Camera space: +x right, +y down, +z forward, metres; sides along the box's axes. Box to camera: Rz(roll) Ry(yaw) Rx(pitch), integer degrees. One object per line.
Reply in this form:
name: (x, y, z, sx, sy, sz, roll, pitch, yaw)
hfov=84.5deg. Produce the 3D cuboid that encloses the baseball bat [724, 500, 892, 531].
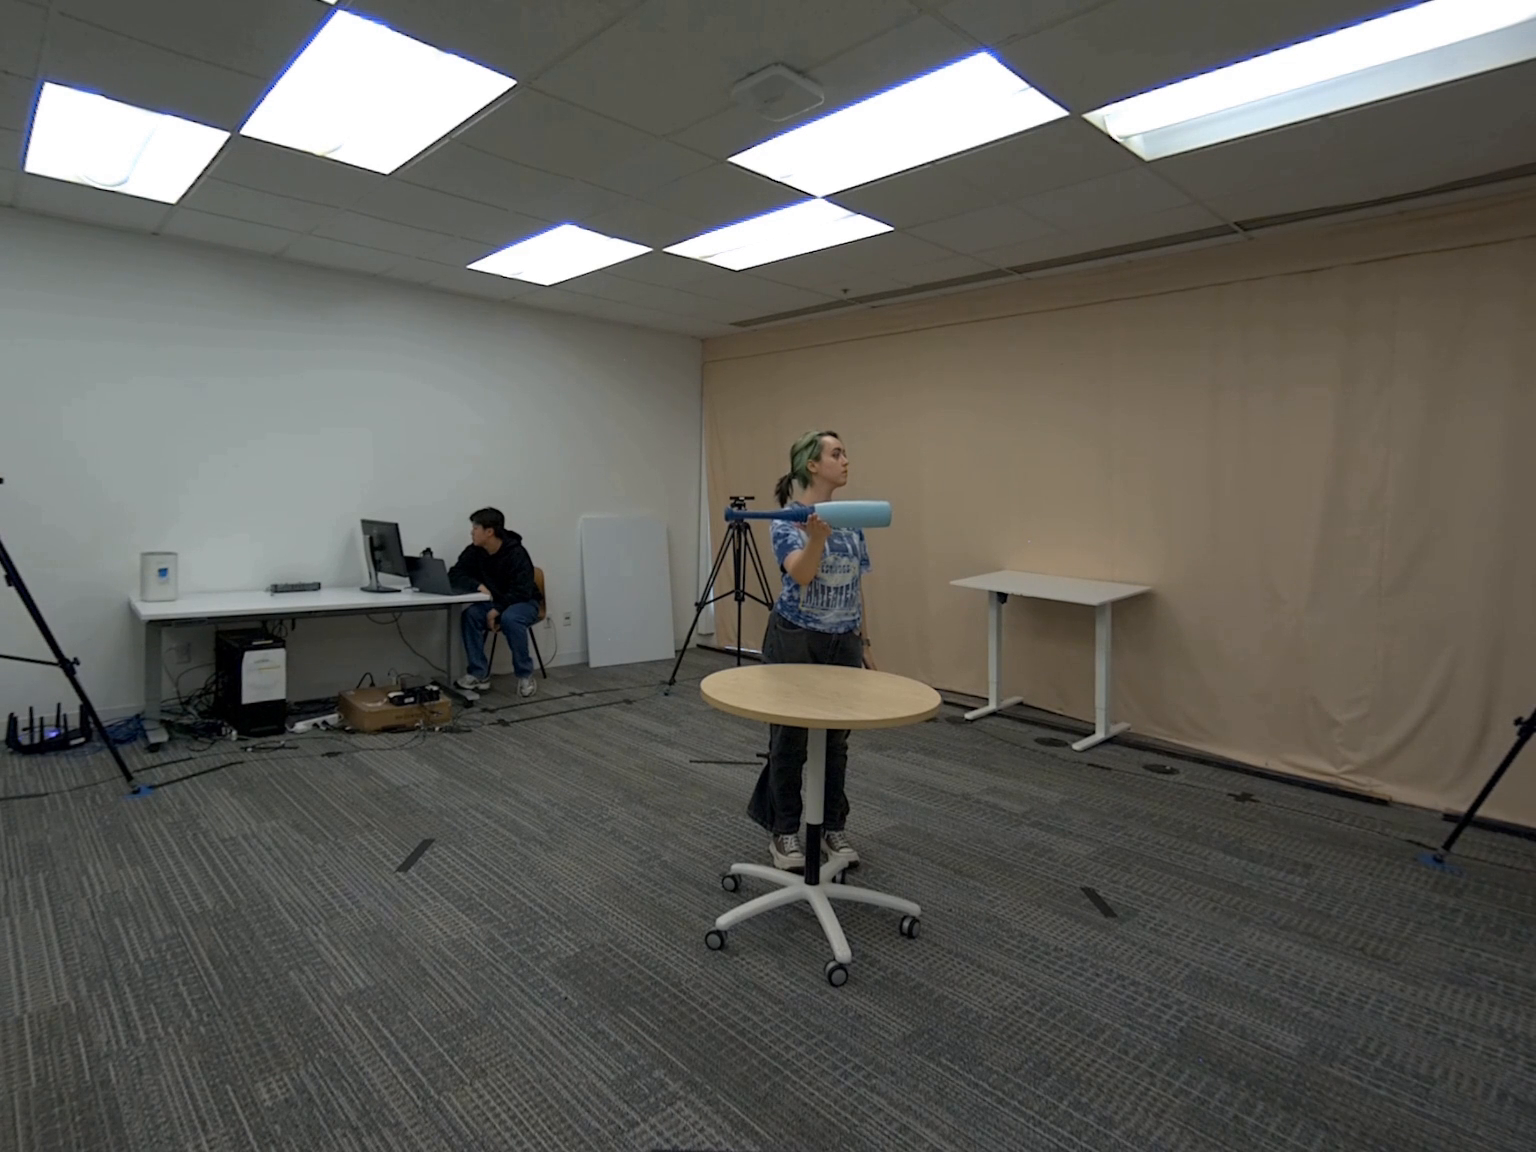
baseball bat: (0.134, -0.198, 2.720, 0.541, 0.089, 0.089, 0, 4, -5)
